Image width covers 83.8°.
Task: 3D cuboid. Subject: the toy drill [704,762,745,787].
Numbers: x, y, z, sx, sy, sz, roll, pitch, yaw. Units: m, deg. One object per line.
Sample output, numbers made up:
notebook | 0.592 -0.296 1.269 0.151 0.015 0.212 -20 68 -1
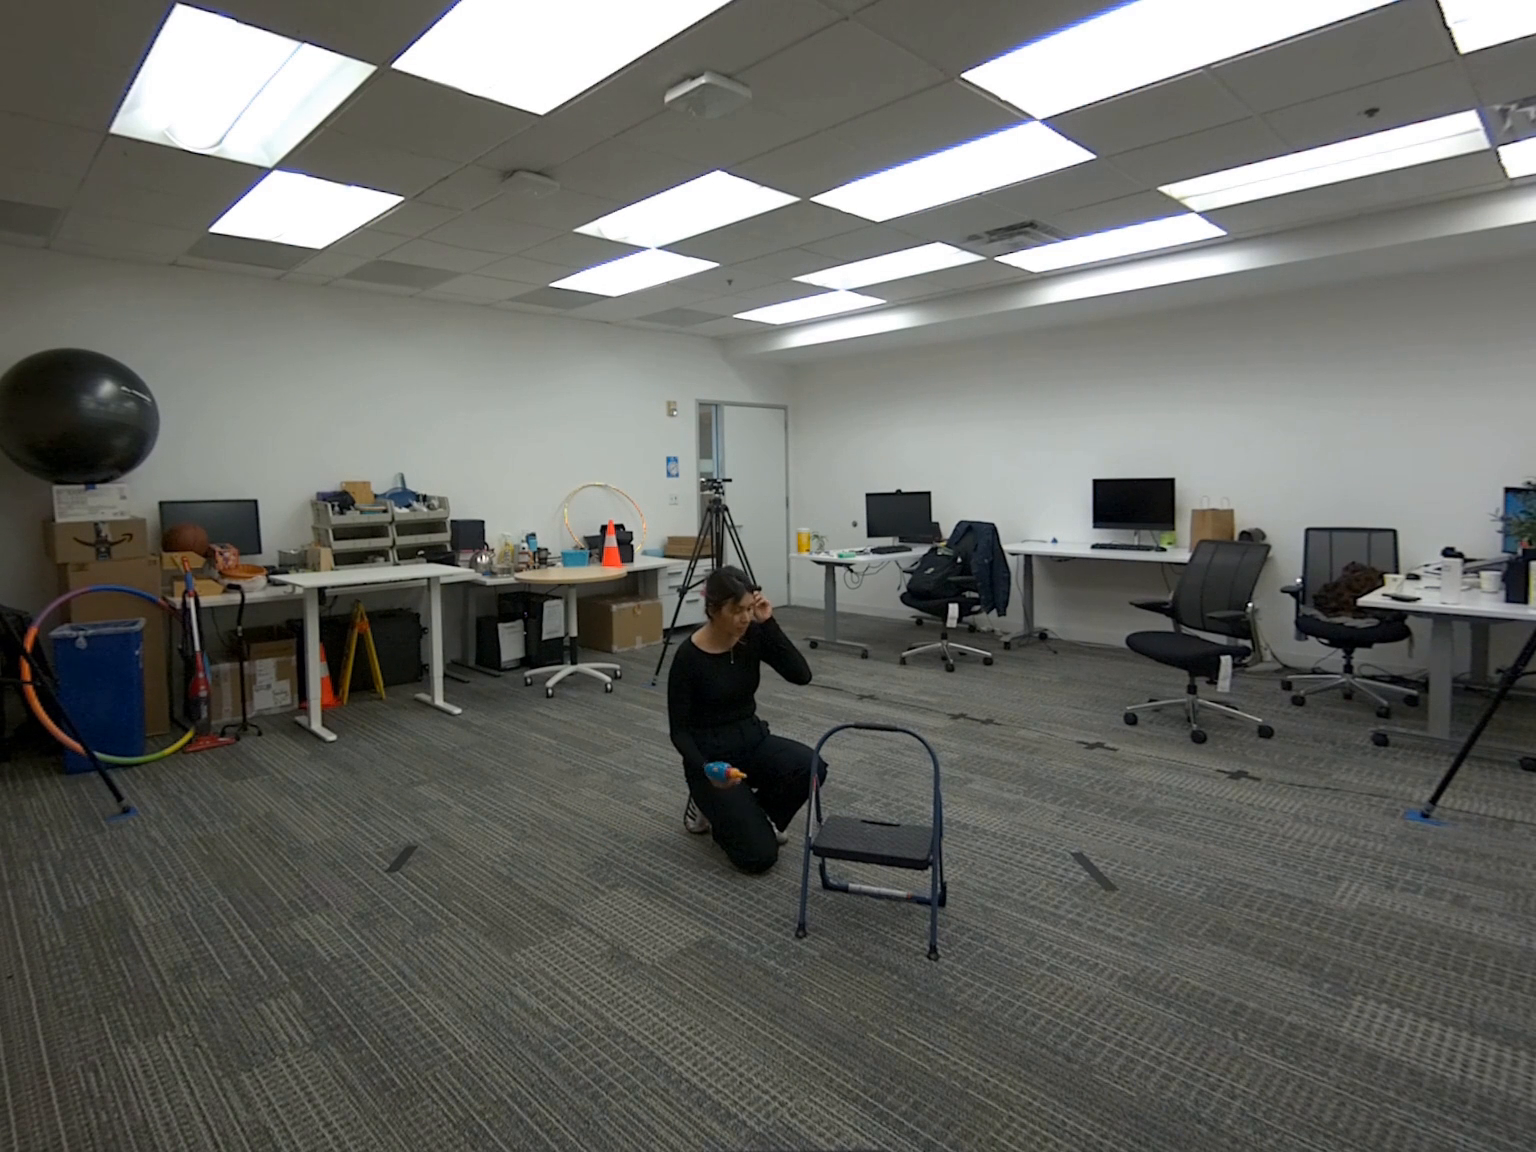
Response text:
toy drill | -0.136 0.686 2.933 0.174 0.062 0.140 1 -19 31
